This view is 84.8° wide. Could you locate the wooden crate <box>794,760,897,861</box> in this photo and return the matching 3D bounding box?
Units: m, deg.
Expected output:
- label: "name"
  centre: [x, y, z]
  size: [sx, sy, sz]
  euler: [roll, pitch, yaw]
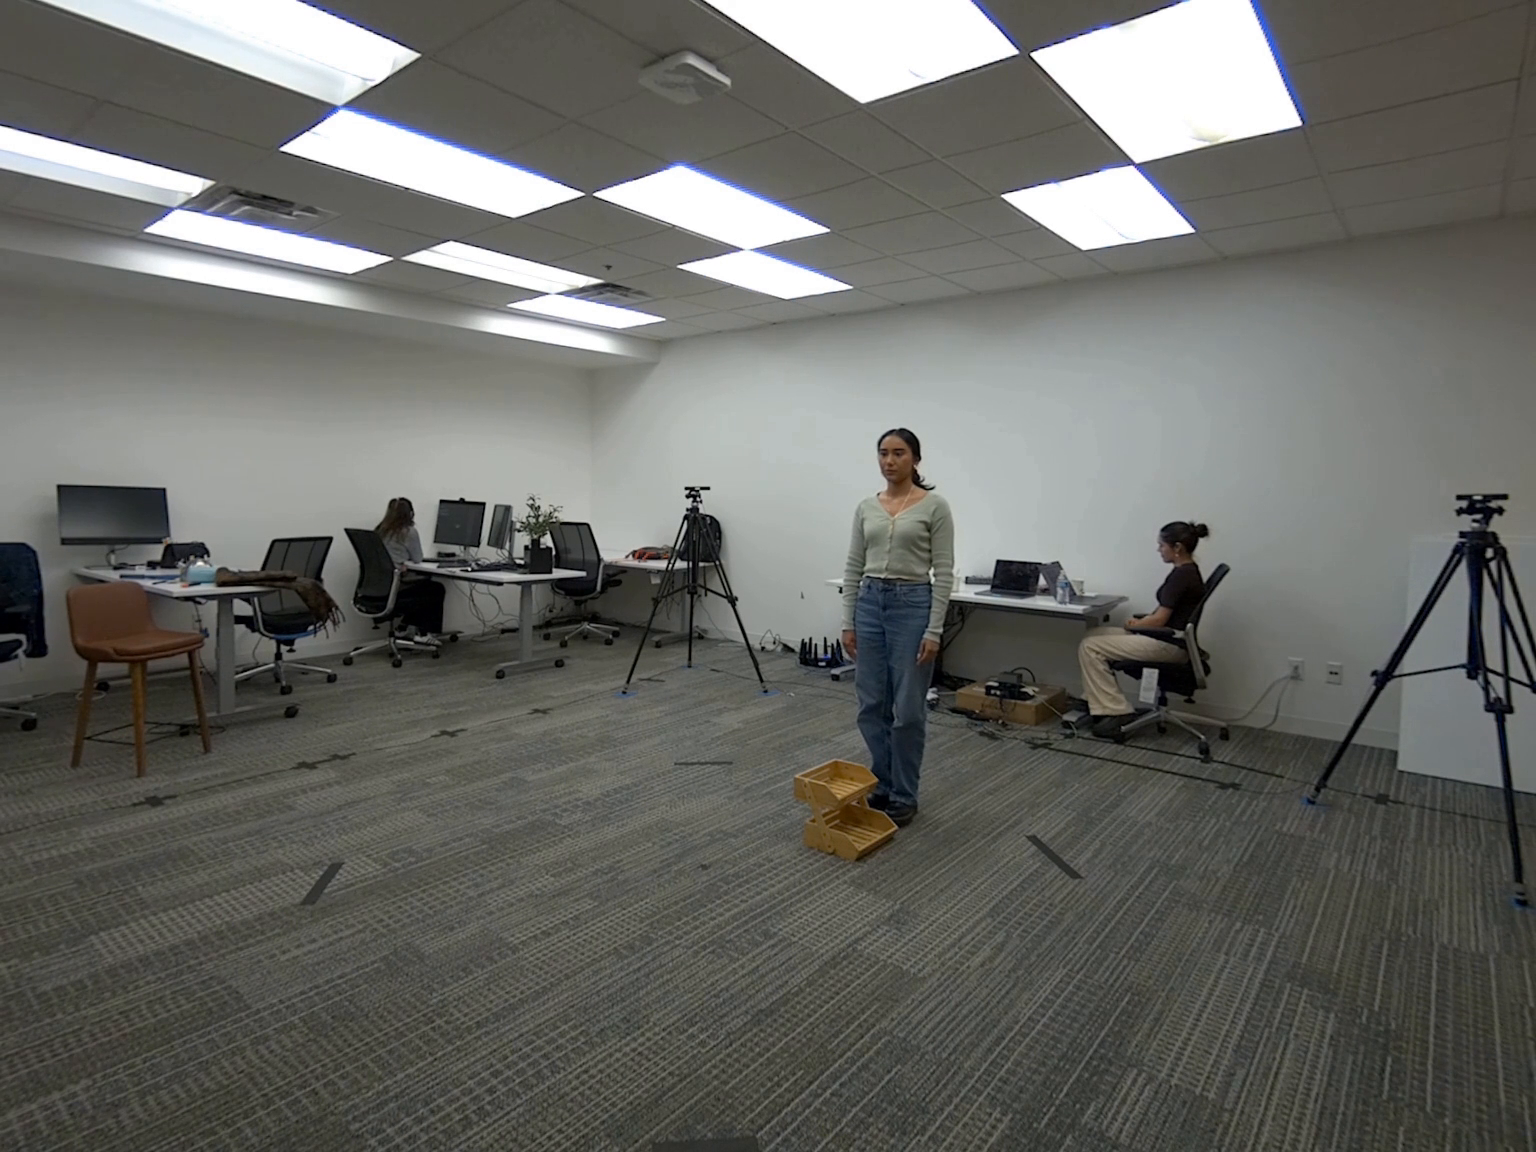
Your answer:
- label: "wooden crate"
  centre: [0.304, 0.913, 3.378]
  size: [0.312, 0.272, 0.315]
  euler: [3, 5, 39]
